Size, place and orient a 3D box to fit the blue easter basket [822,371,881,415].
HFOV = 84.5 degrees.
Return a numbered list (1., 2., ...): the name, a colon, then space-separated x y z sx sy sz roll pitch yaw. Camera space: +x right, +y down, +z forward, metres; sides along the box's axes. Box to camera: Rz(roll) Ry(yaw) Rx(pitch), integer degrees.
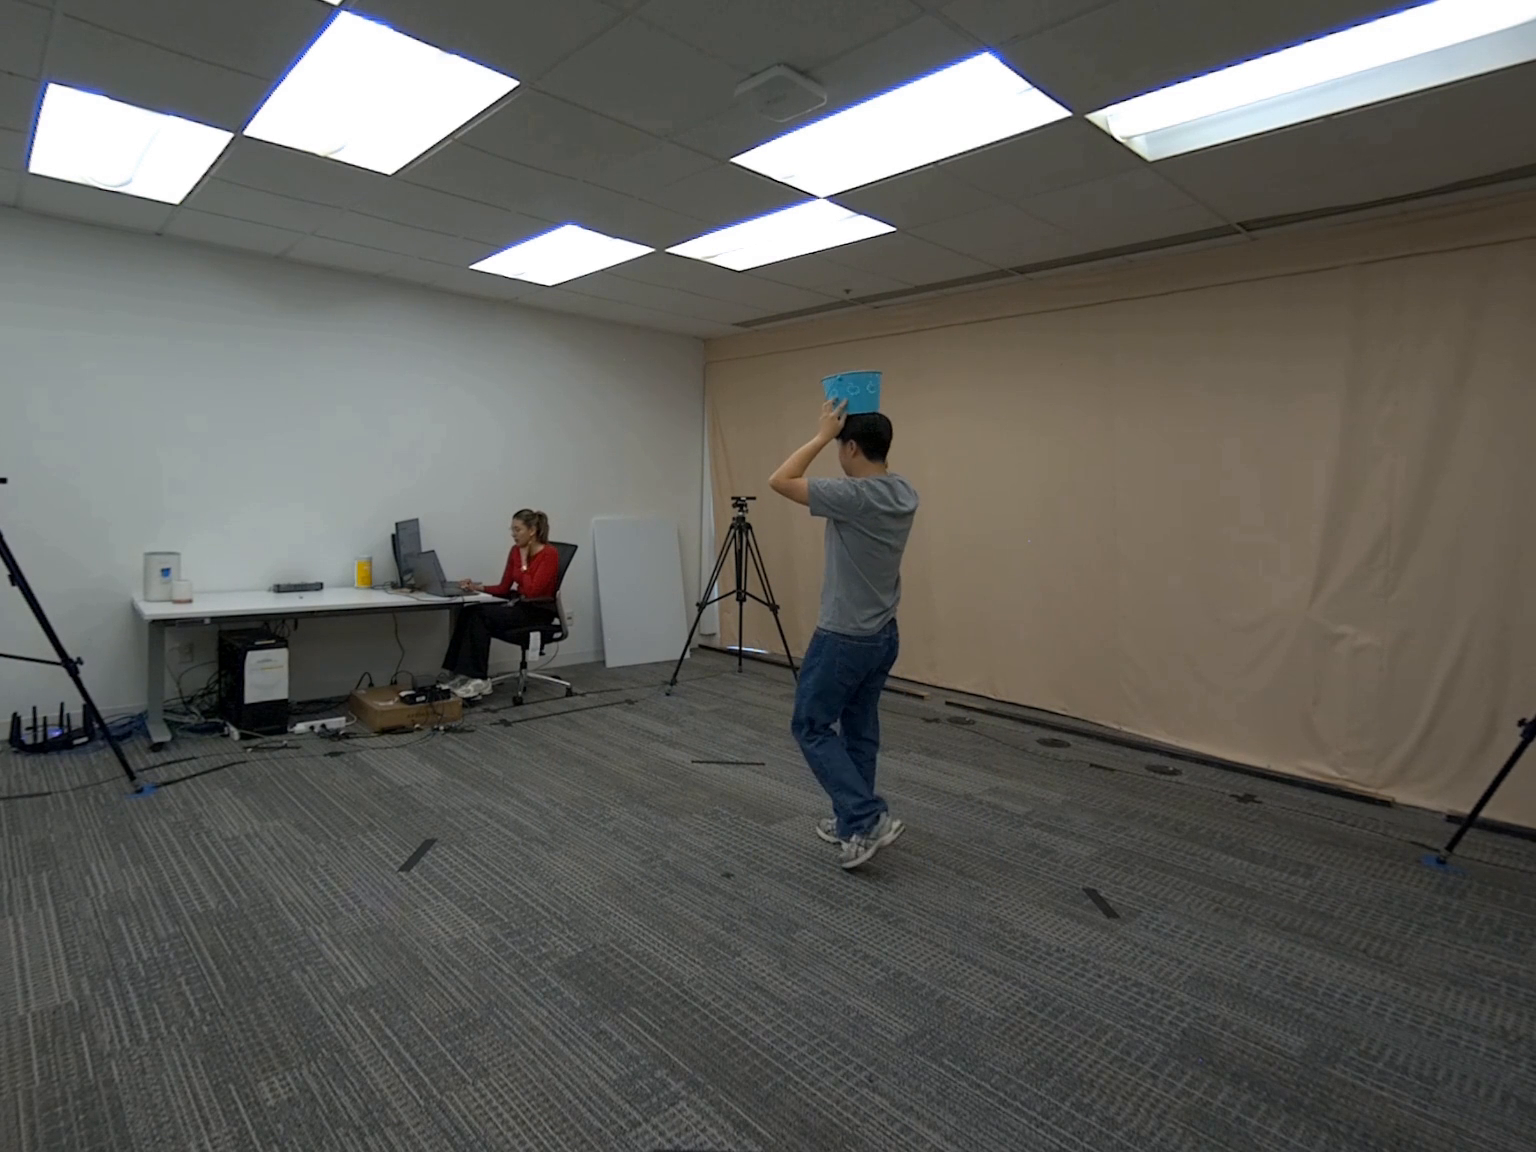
1. blue easter basket: 0.315 -0.686 3.231 0.243 0.156 0.244 -6 3 -1
